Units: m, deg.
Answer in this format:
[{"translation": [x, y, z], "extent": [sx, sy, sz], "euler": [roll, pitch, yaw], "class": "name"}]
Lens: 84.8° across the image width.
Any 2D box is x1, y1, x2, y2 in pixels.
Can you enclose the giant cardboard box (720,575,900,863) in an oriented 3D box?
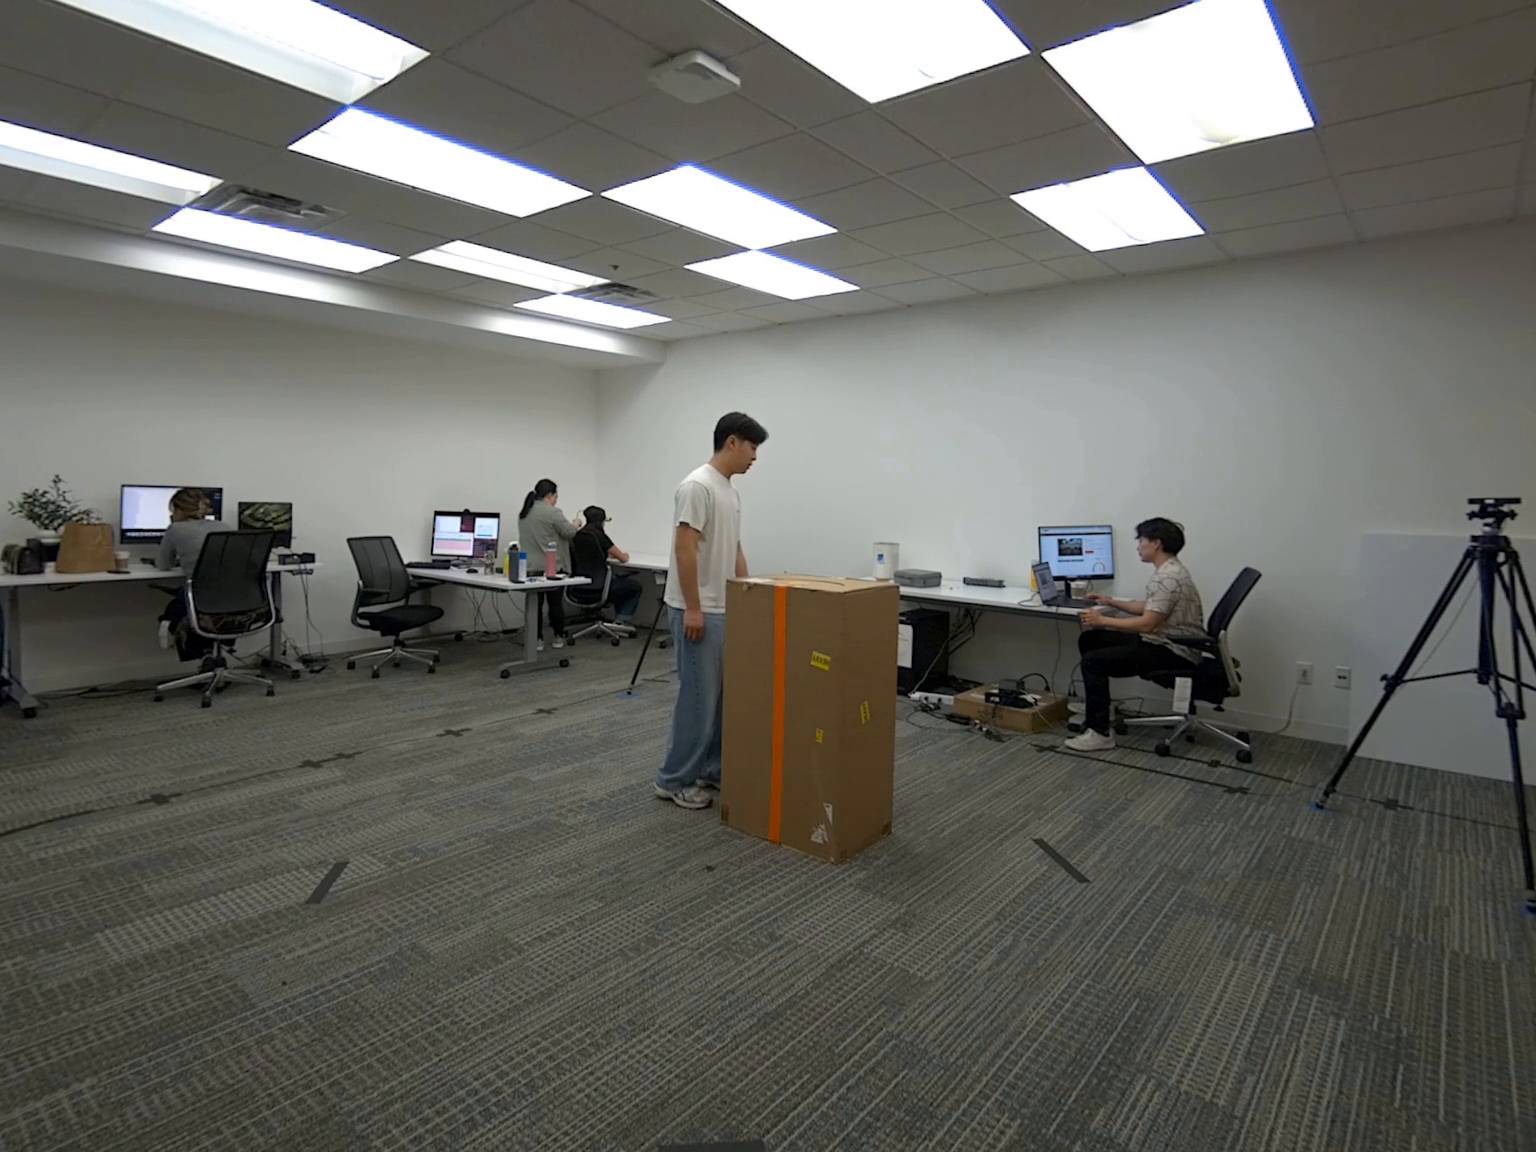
[{"translation": [0.159, 0.528, 3.478], "extent": [0.597, 1.023, 0.413], "euler": [4, 4, 39], "class": "giant cardboard box"}]
